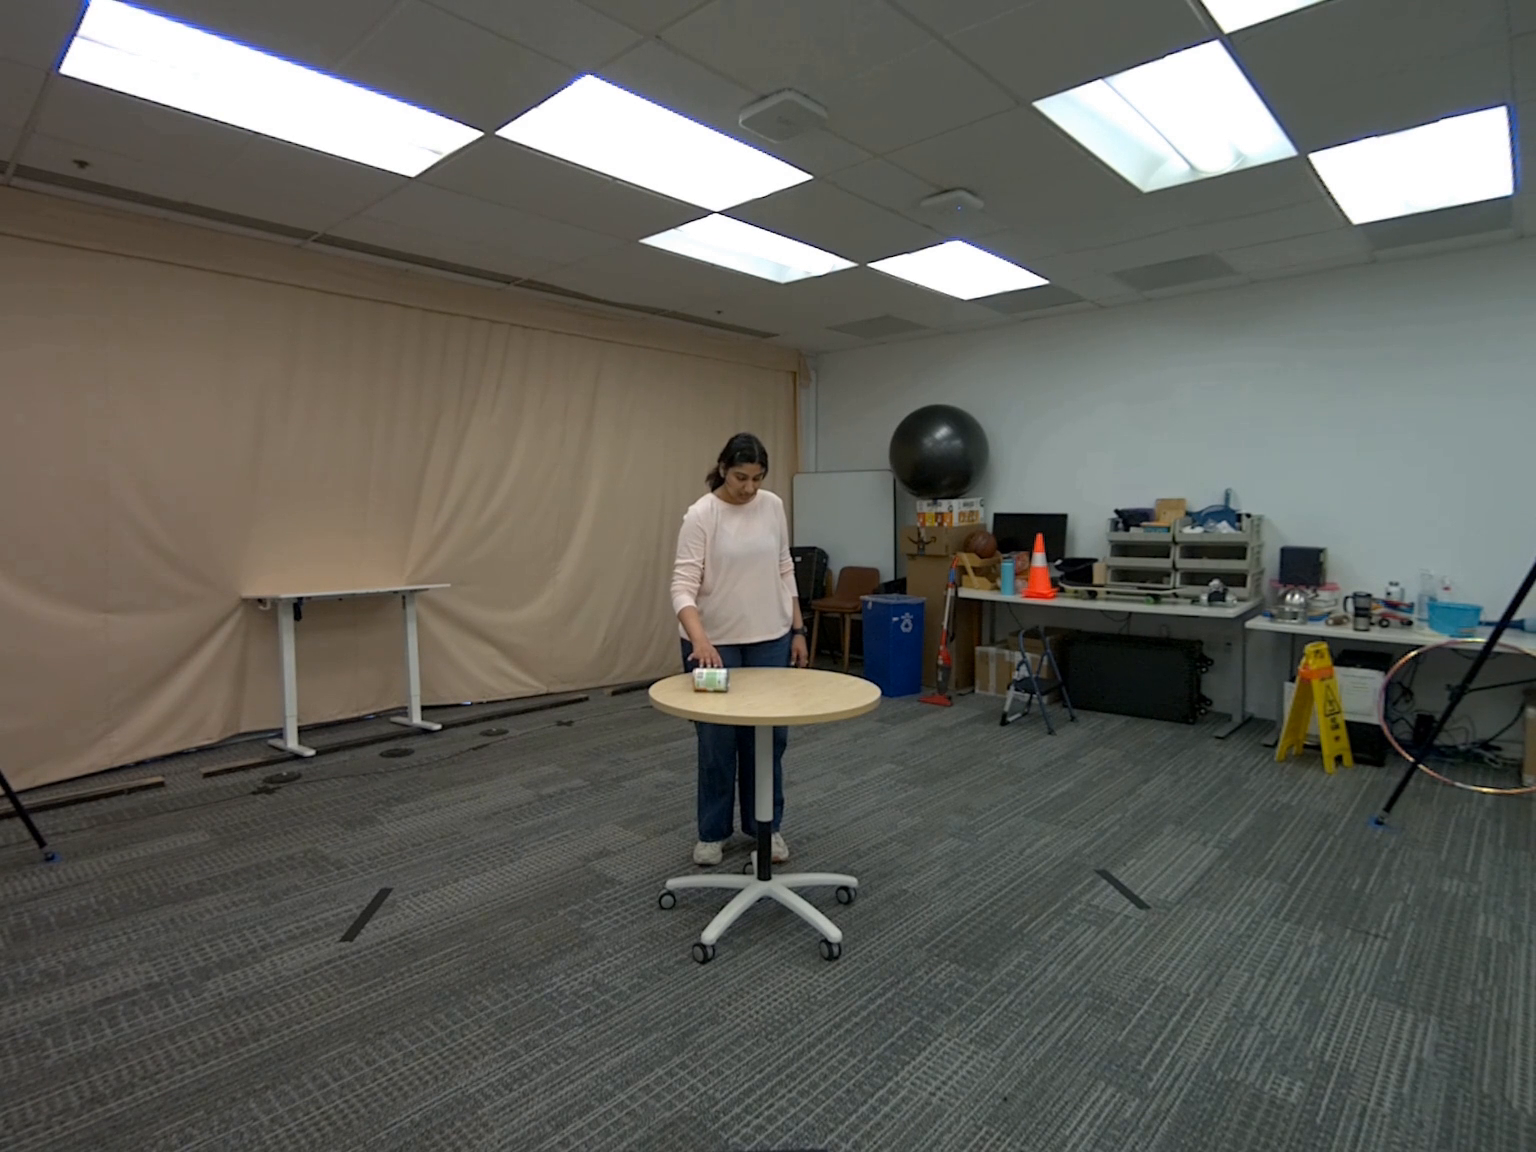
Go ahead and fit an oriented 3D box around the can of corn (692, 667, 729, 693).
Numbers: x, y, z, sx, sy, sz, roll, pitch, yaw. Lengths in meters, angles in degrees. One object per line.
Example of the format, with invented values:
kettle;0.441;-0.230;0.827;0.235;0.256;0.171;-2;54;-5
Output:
can of corn;-0.193;0.339;2.767;0.111;0.074;0.074;-4;4;3
